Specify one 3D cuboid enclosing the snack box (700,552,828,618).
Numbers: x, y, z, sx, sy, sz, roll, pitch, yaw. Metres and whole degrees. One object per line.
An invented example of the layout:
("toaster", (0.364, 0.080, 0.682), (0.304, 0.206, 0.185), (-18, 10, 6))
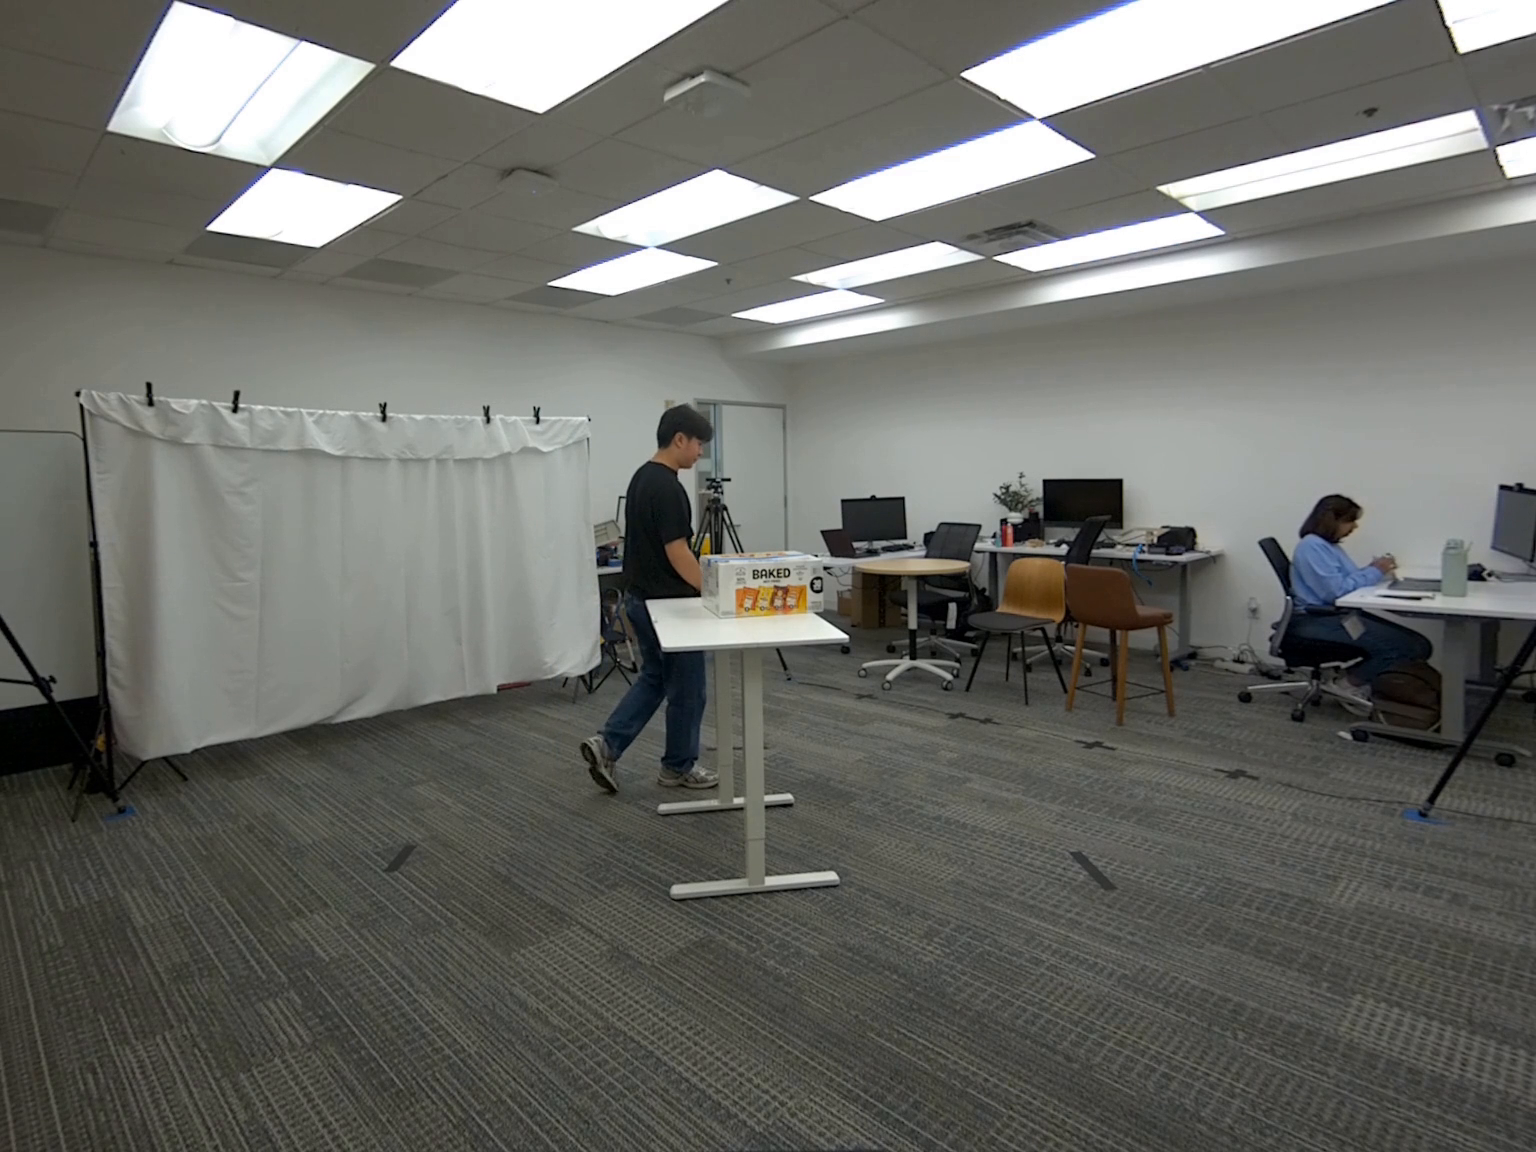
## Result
("snack box", (-0.029, 0.026, 3.337), (0.400, 0.205, 0.346), (-3, 6, -14))
